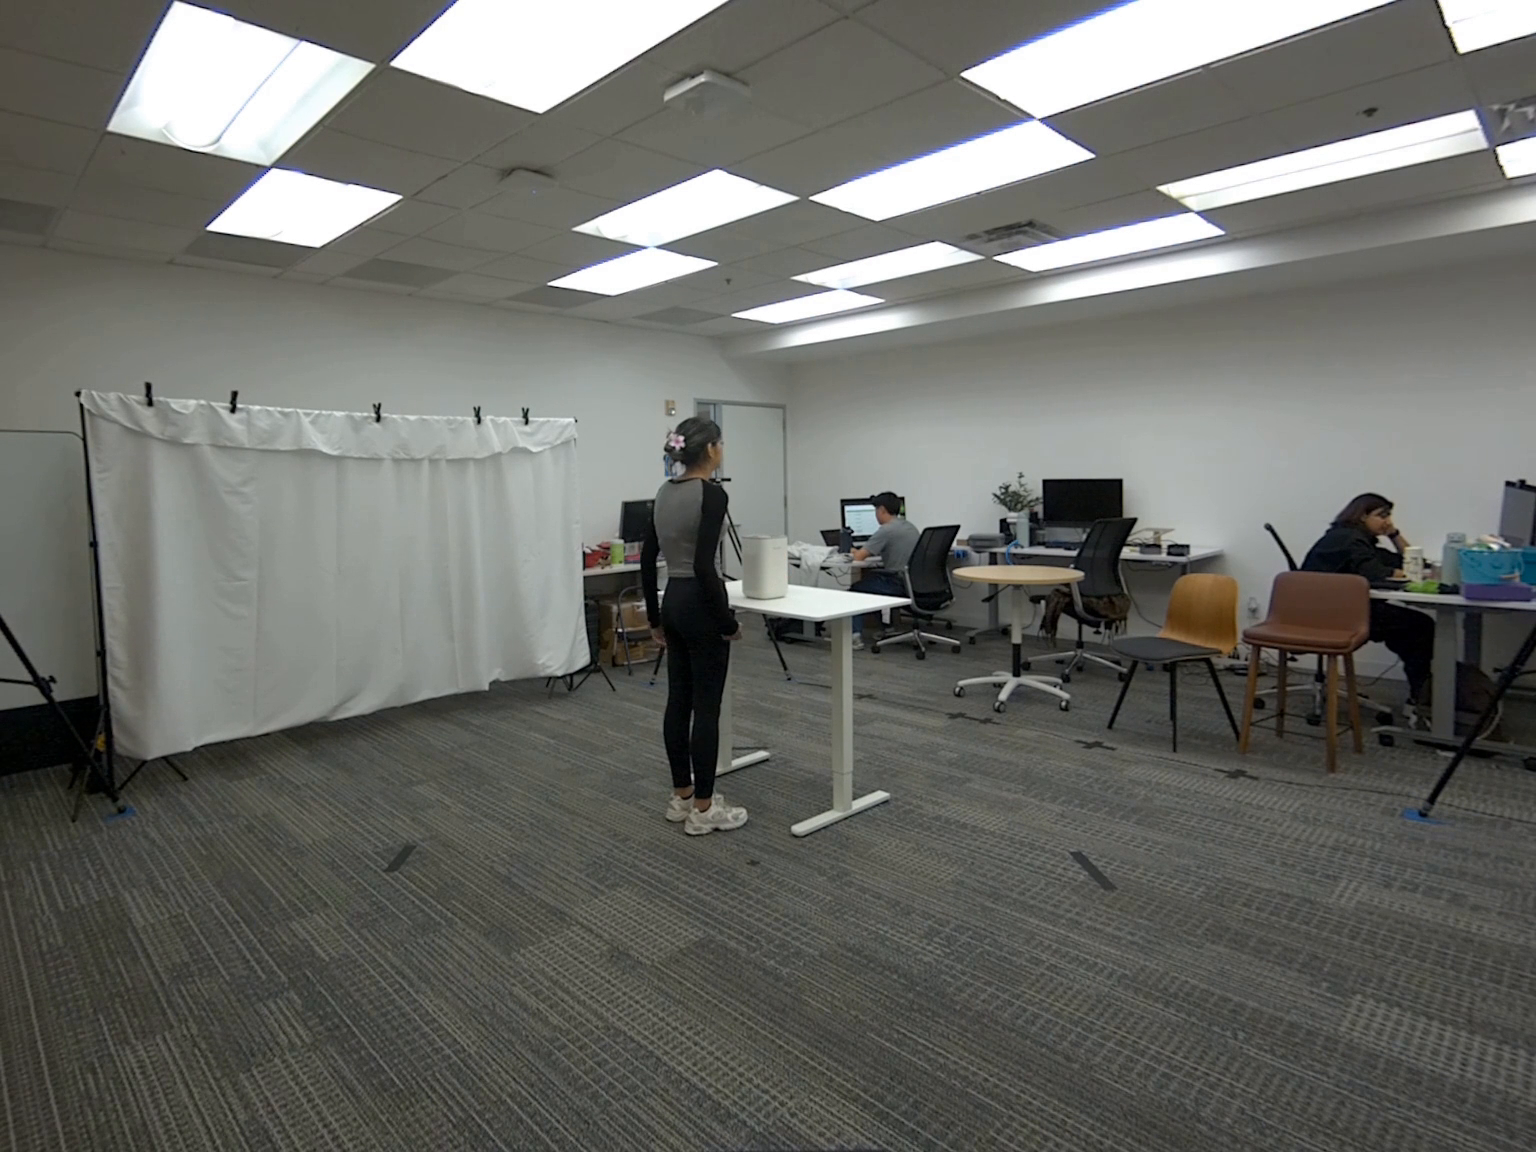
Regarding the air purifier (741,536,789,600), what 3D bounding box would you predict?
[{"bbox_3d":[-0.017,-0.043,3.693,0.167,0.264,0.177,-6,8,-41],"label":"air purifier"}]
